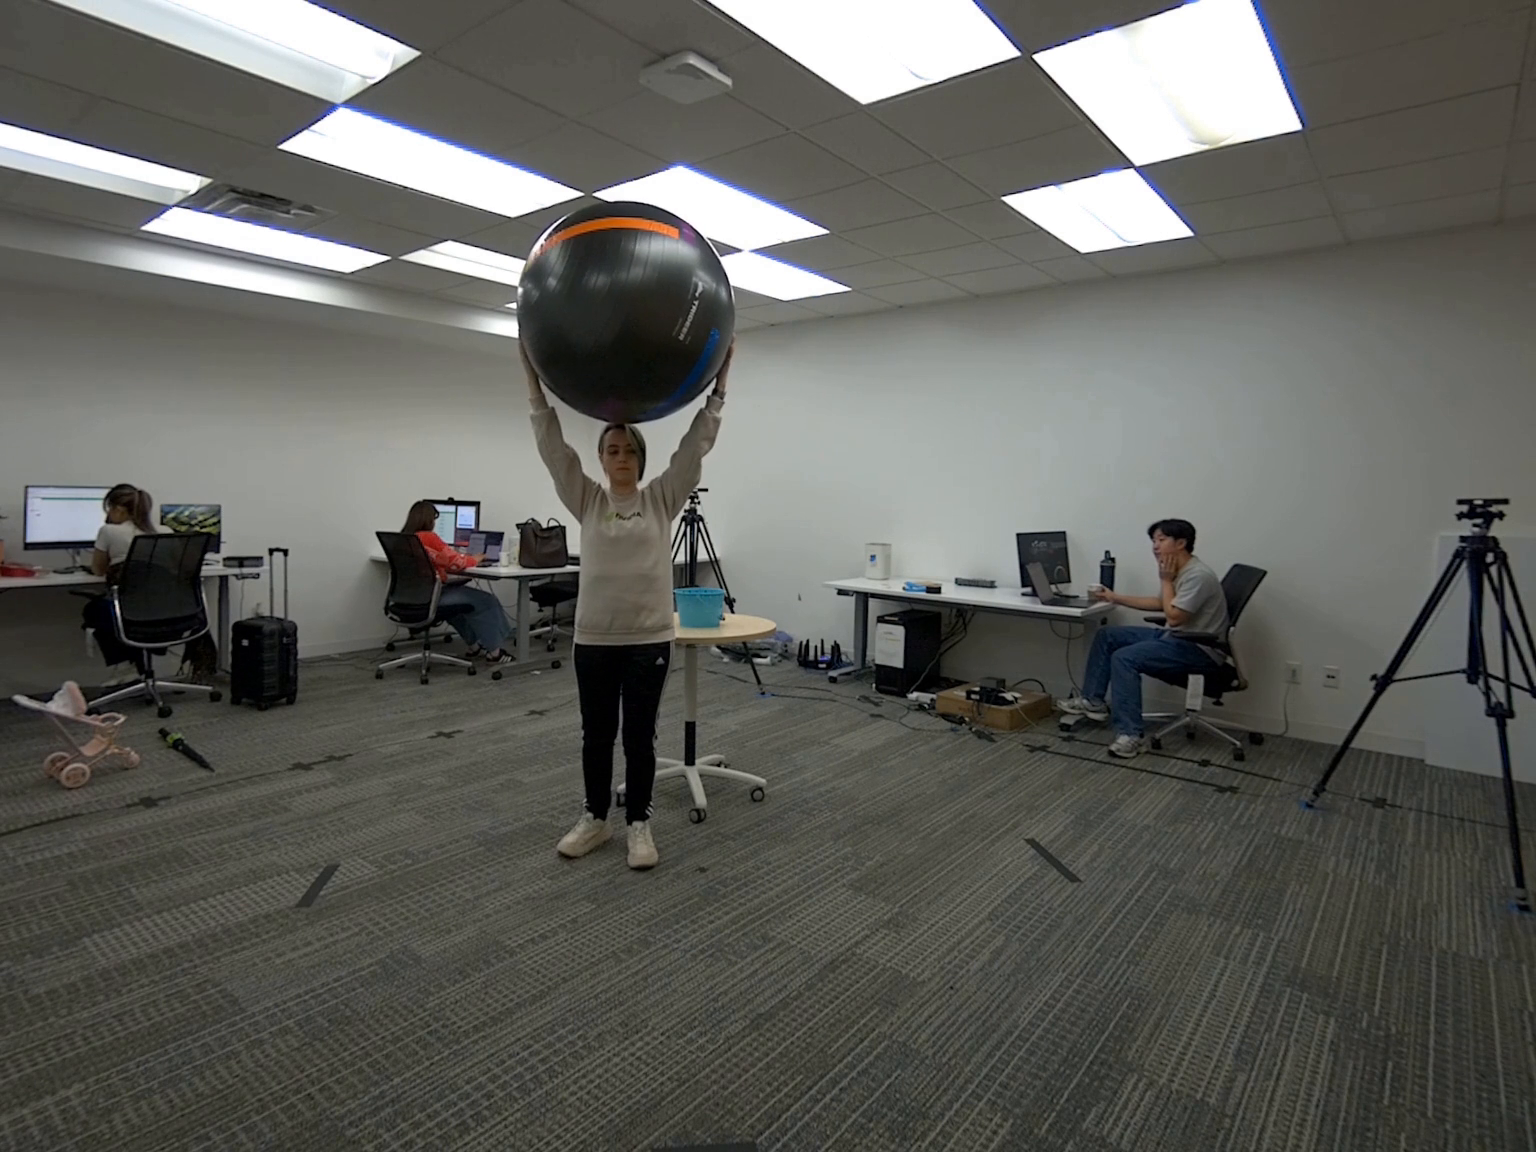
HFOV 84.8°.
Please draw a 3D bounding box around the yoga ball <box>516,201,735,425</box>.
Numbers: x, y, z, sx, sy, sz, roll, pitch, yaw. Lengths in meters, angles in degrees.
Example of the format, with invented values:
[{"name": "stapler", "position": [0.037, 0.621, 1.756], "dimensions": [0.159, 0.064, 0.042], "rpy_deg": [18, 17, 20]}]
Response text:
[{"name": "yoga ball", "position": [-0.506, -0.913, 2.982], "dimensions": [0.757, 0.756, 0.761], "rpy_deg": [1, 4, -2]}]
